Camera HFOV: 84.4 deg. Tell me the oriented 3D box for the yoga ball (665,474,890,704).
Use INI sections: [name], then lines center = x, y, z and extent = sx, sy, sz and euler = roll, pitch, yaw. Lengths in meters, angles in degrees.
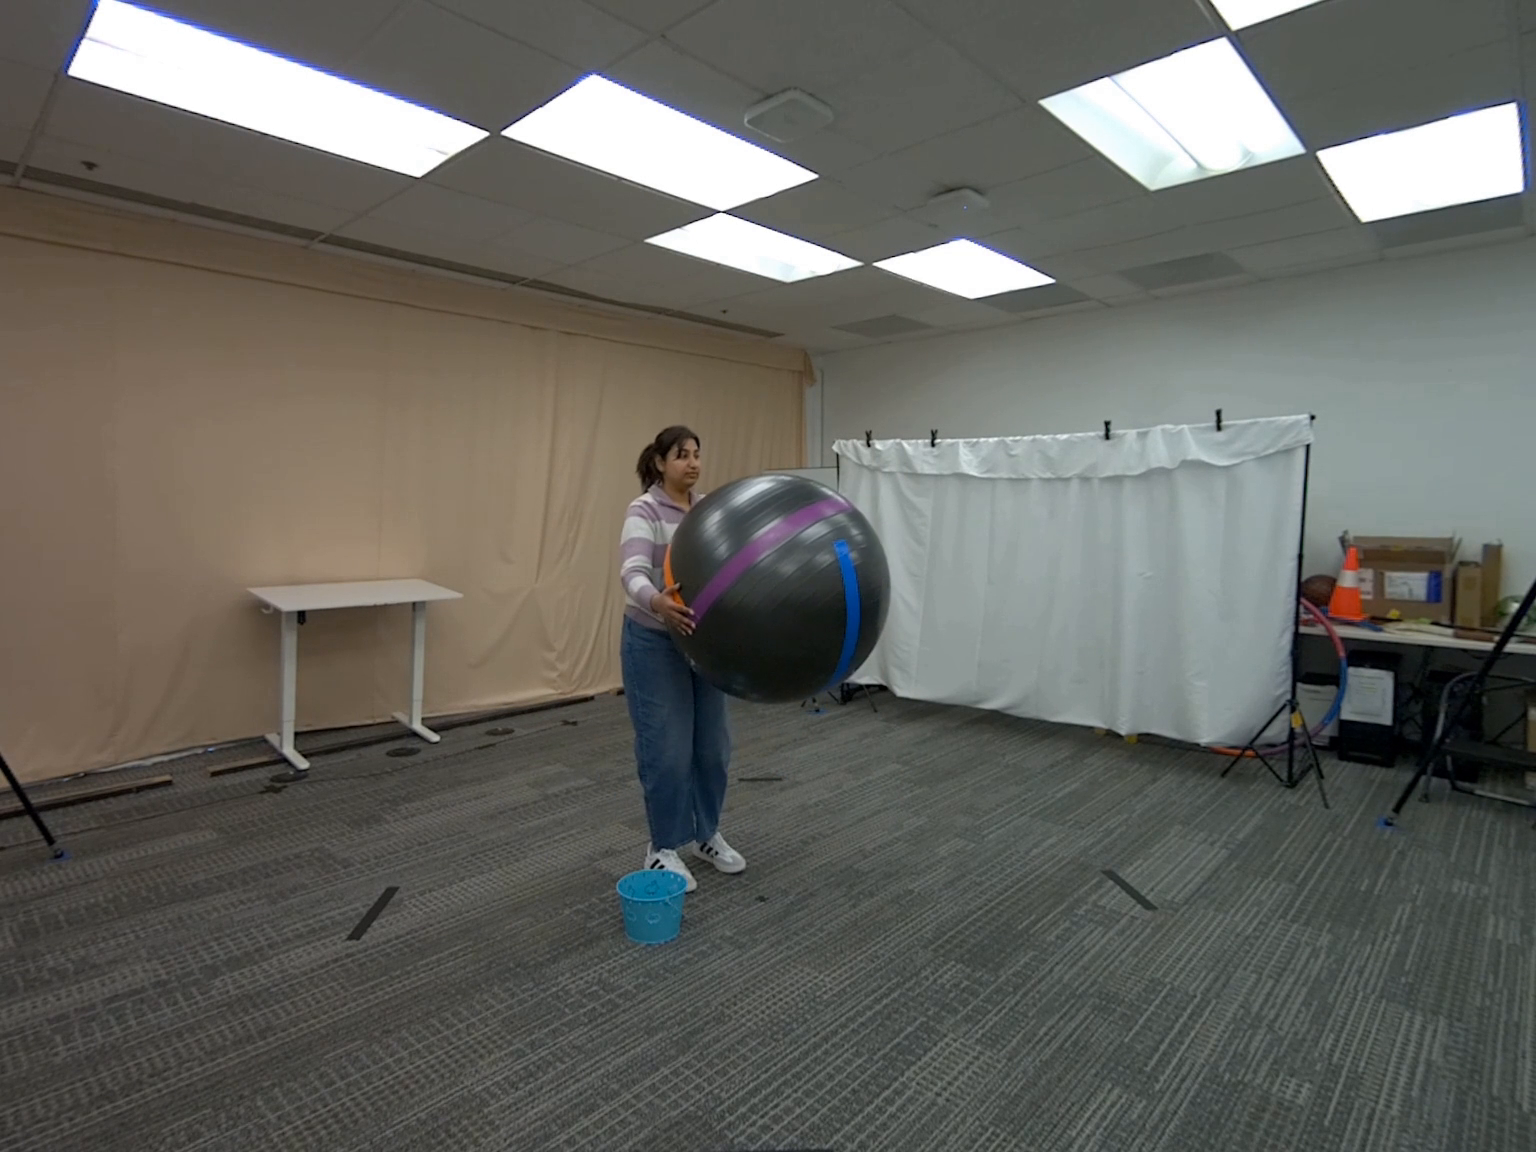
[yoga ball]
center = 0.027, 0.045, 2.794
extent = 0.757, 0.756, 0.761
euler = 0, 4, -2
